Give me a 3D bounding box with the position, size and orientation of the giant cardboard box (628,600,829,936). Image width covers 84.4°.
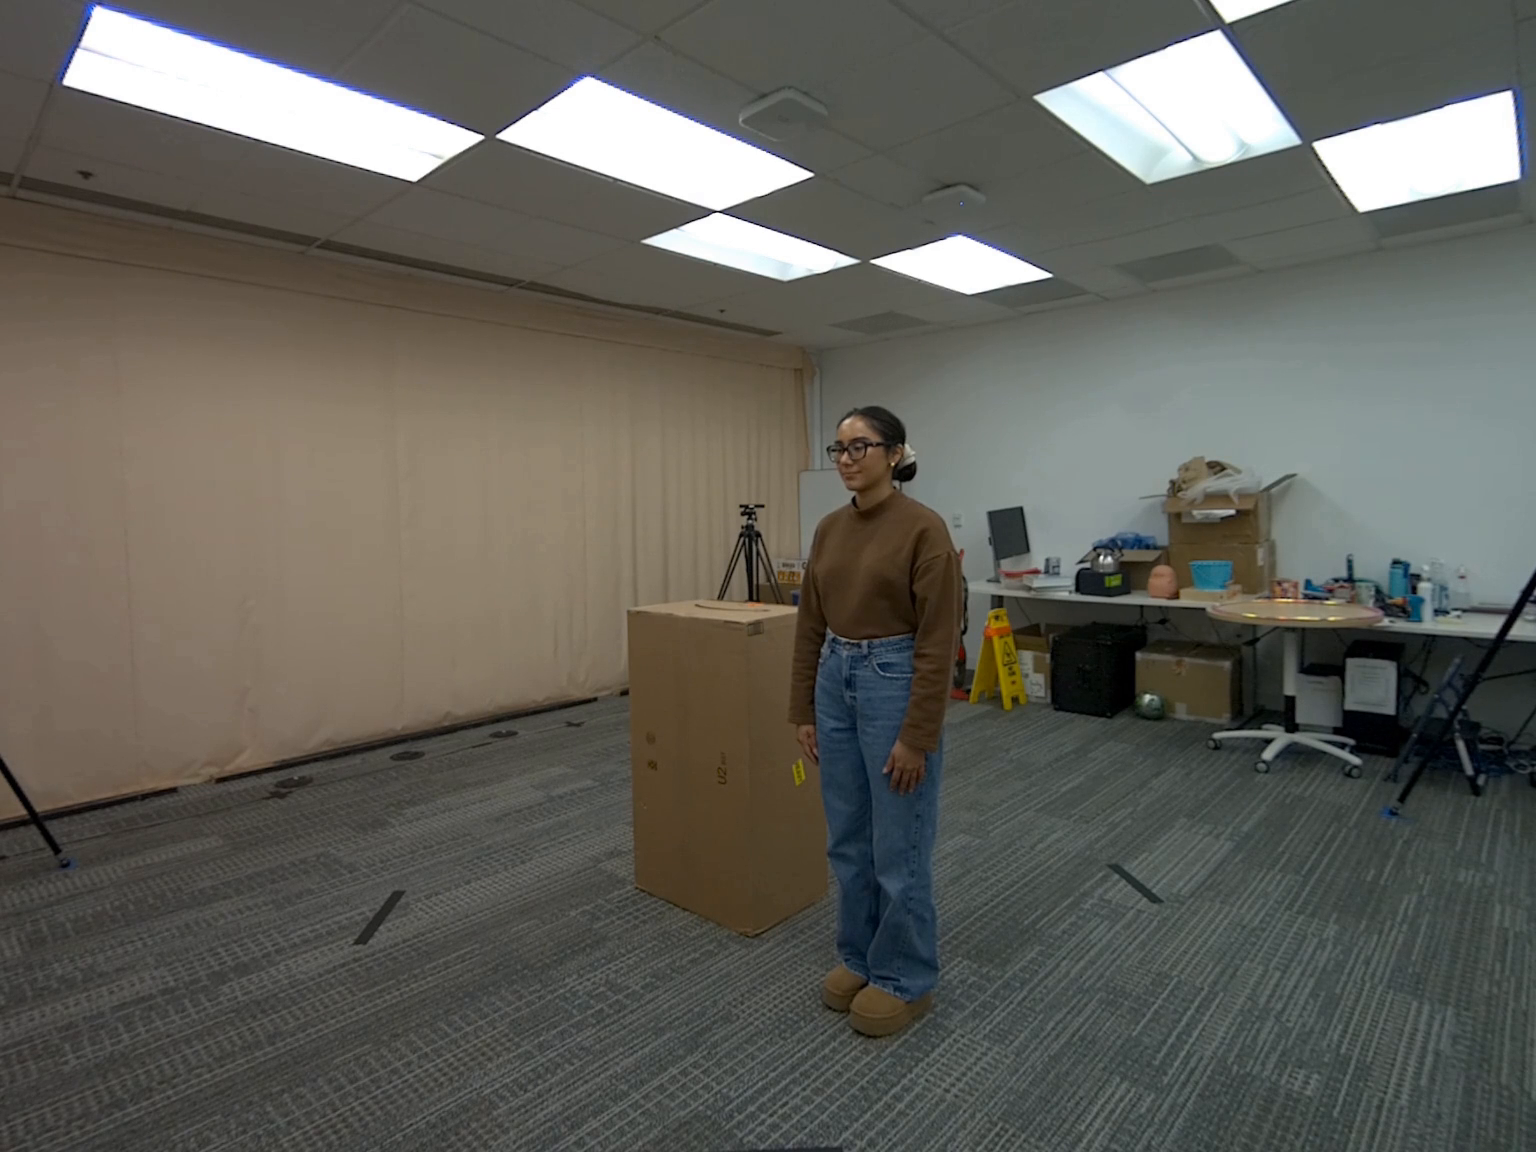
[{"bbox_3d":[-0.145,0.632,3.027,0.603,1.025,0.433,2,4,40],"label":"giant cardboard box"}]
